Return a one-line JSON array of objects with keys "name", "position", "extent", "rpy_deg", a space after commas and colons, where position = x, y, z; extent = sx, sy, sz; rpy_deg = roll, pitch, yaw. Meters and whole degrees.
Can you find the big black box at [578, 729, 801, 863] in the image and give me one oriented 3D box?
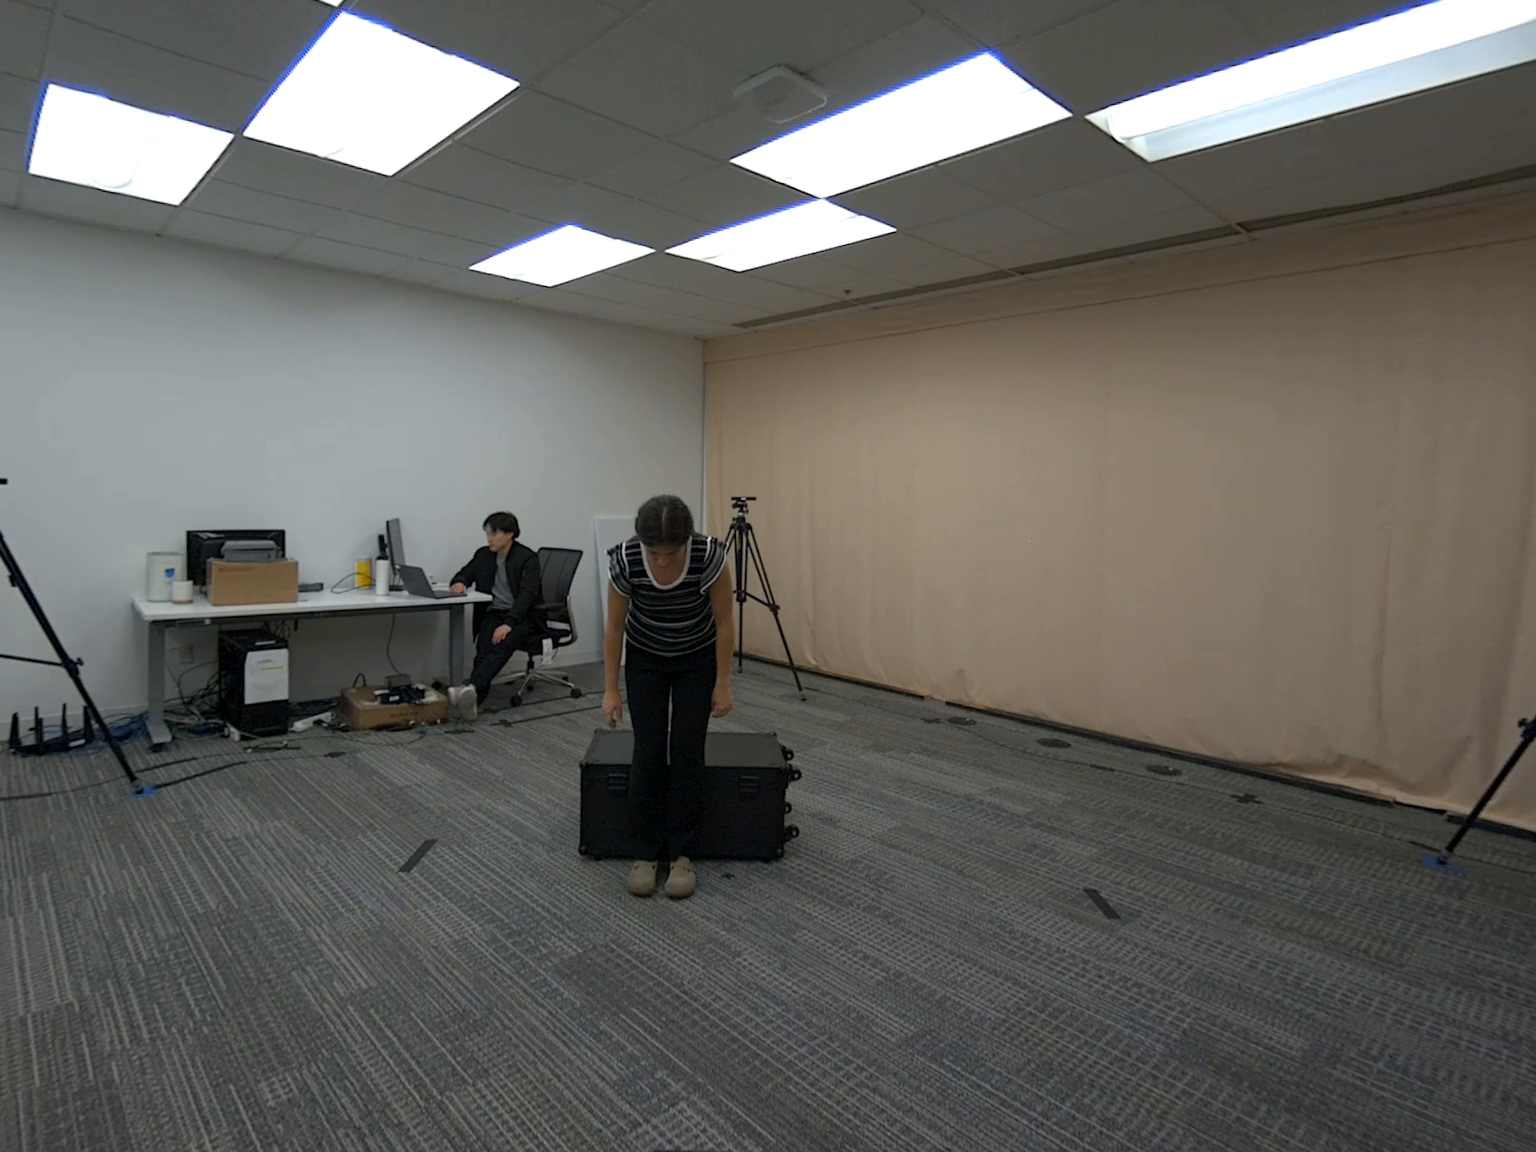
[{"name": "big black box", "position": [-0.314, 0.881, 3.434], "extent": [0.859, 0.395, 0.524], "rpy_deg": [1, 5, -4]}]
